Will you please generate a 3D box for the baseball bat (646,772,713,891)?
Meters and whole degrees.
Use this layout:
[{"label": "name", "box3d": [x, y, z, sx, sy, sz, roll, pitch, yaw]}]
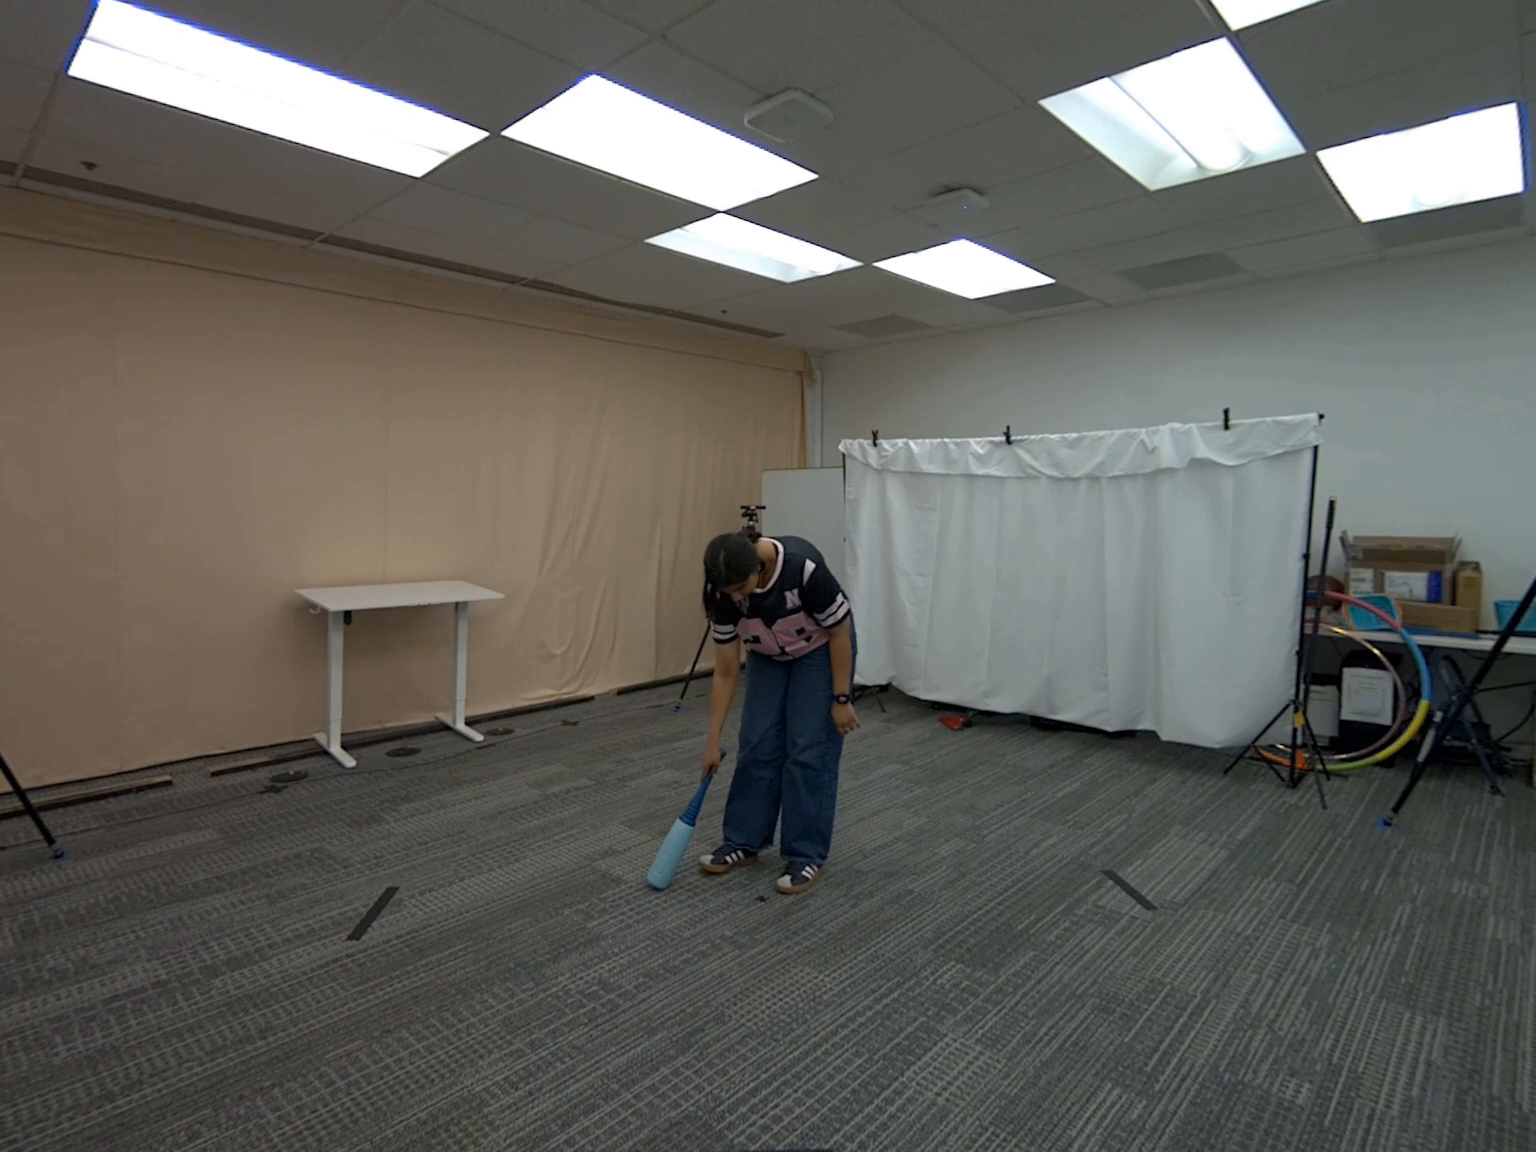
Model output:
[{"label": "baseball bat", "box3d": [-0.285, 0.896, 3.084, 0.089, 0.543, 0.089, 29, -3, -1]}]
